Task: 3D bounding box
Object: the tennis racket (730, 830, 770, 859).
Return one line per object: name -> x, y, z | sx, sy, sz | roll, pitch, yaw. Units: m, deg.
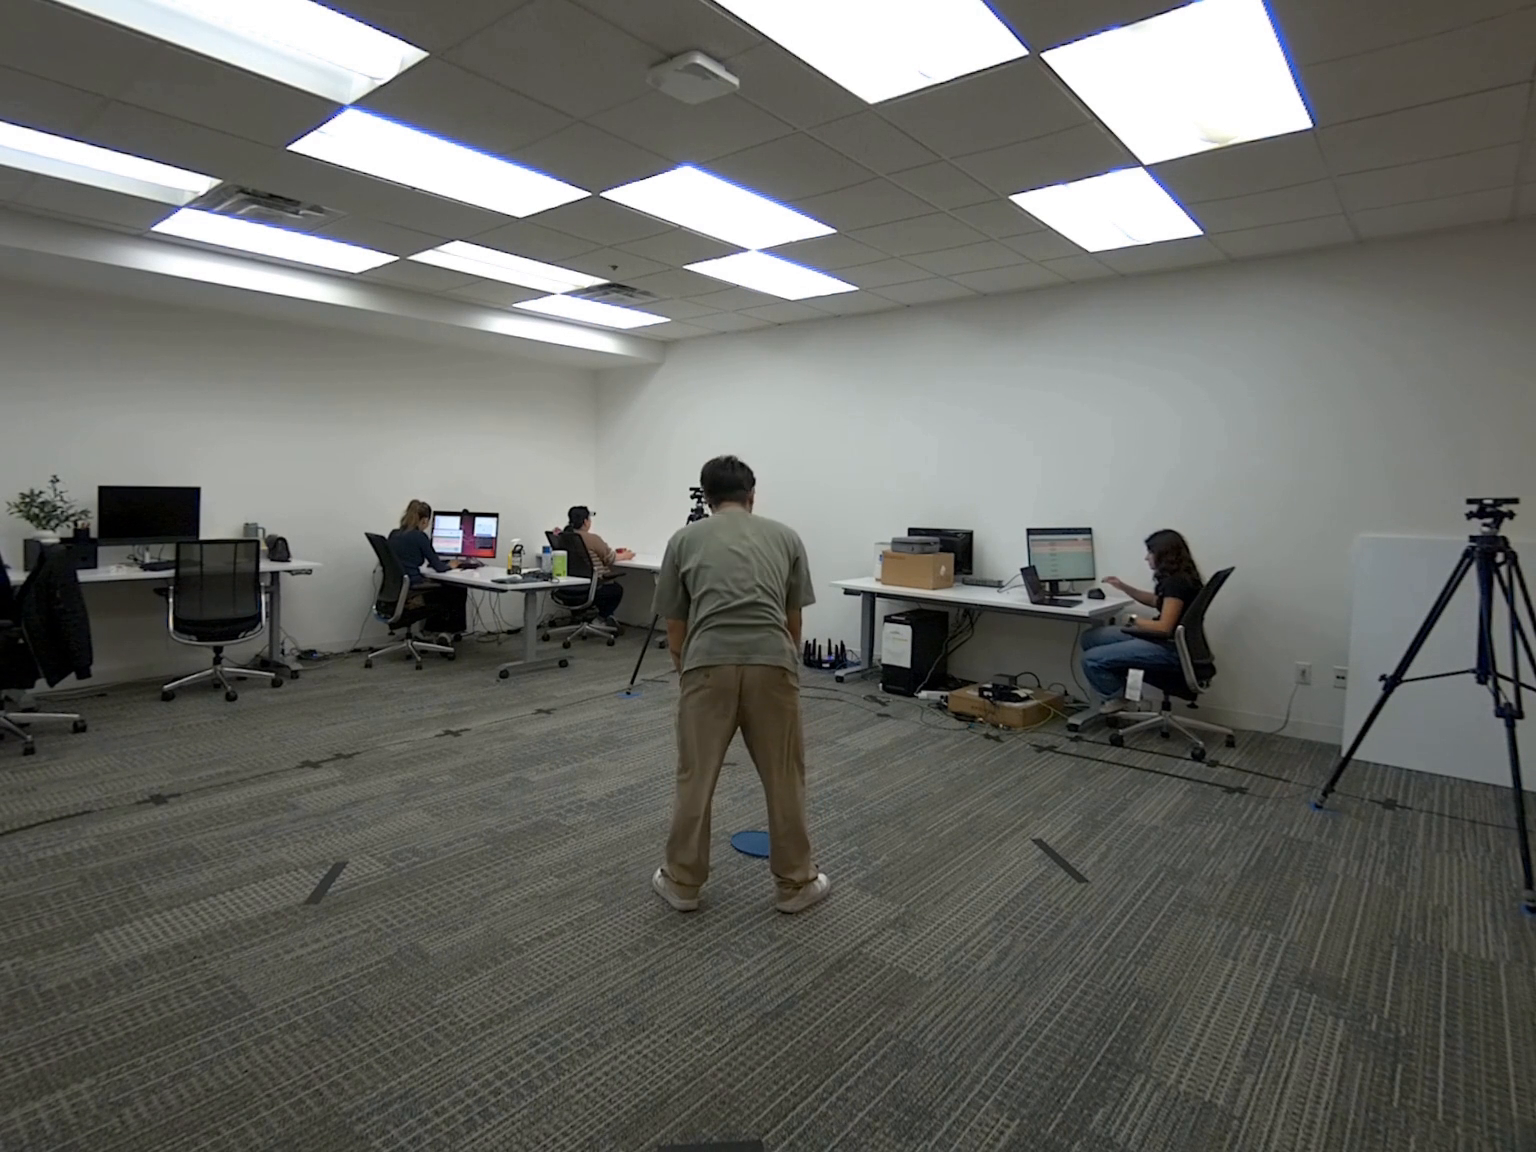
tennis racket -> 0.011, 1.045, 3.250 | 0.207, 0.031, 0.447 | -4, 6, -38
